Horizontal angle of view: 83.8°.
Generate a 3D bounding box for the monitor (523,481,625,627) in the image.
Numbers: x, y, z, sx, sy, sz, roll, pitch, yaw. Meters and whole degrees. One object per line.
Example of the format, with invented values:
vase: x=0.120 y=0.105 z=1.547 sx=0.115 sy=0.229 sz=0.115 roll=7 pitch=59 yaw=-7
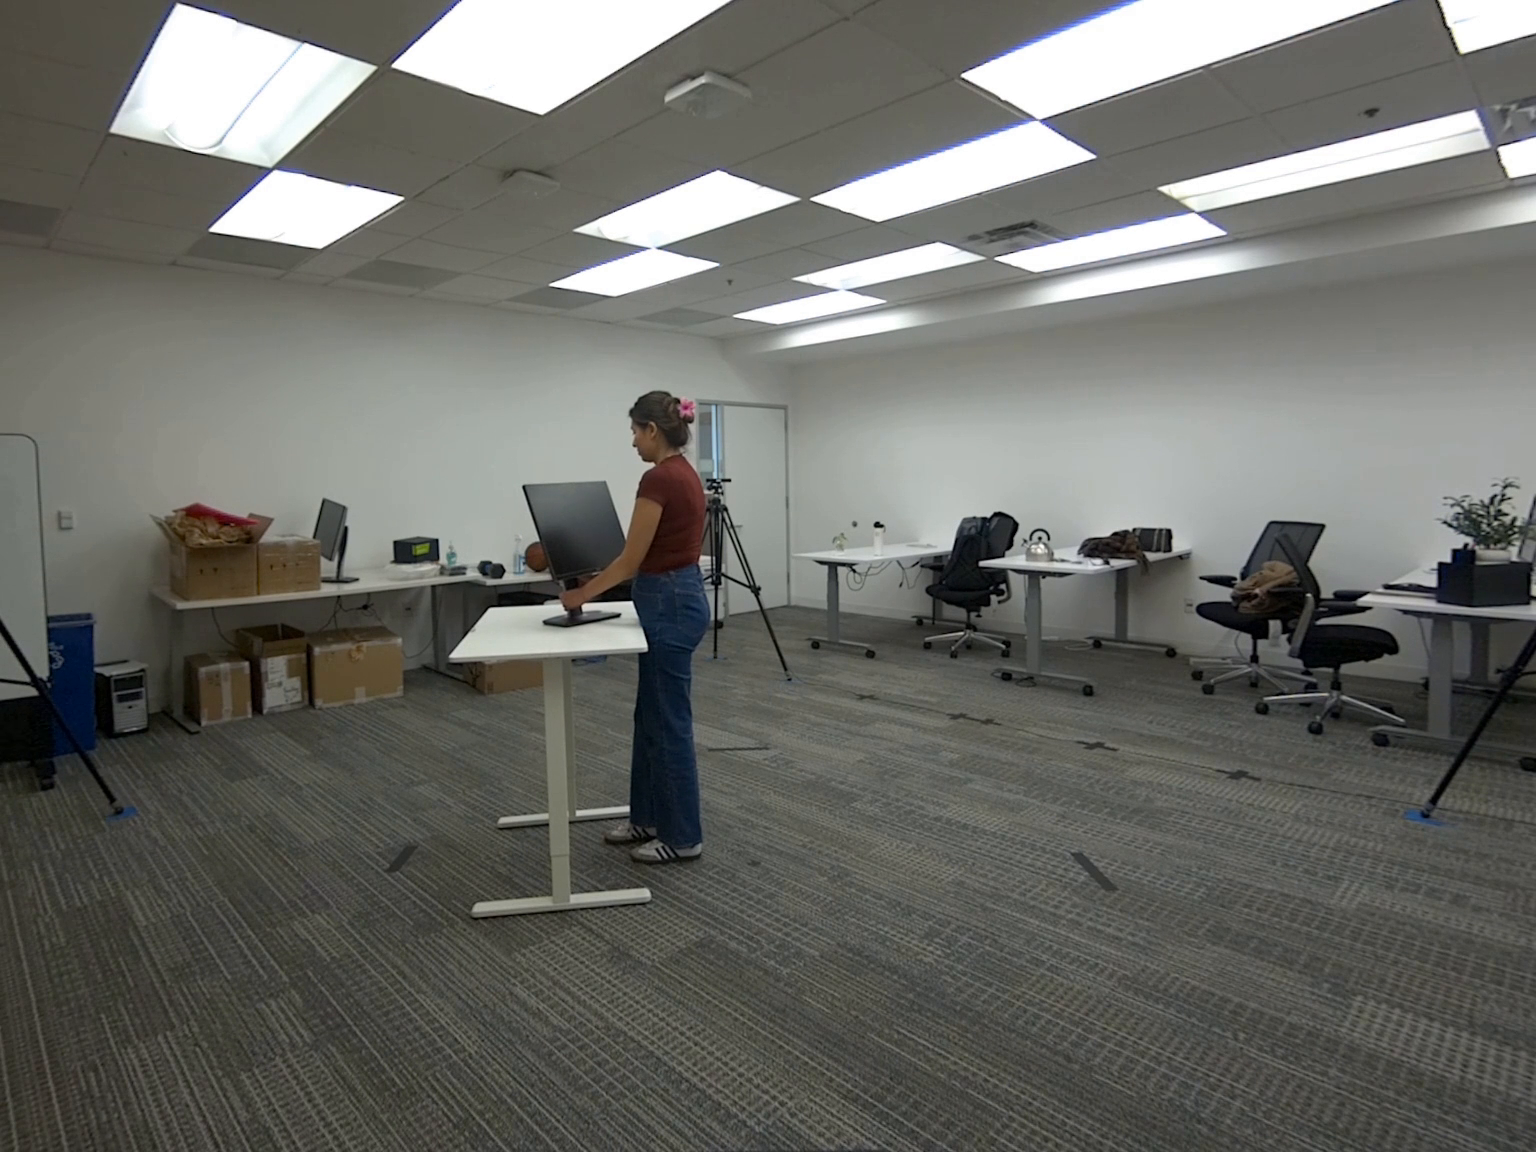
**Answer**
monitor: x=-0.713 y=-0.089 z=3.194 sx=0.190 sy=0.521 sz=0.531 roll=-4 pitch=4 yaw=19
